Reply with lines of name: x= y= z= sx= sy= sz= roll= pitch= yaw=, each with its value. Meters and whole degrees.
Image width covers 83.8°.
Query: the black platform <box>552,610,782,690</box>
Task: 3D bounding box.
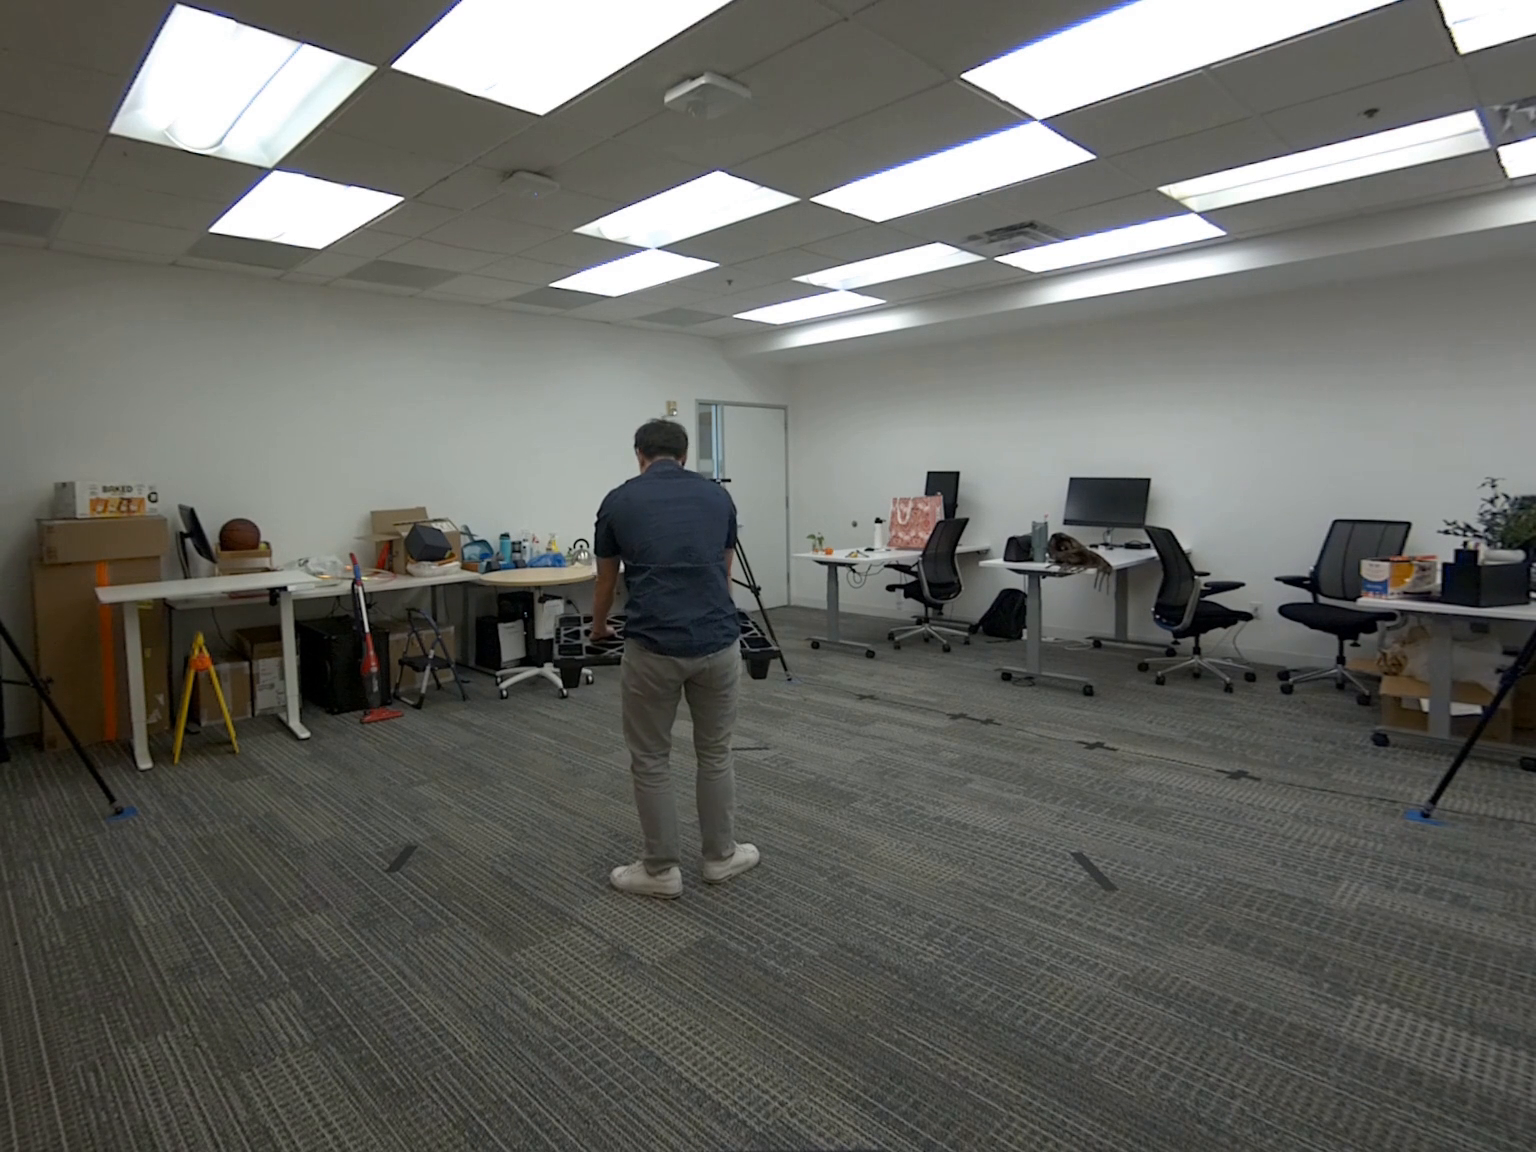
black platform: x=-0.412 y=0.281 z=3.278 sx=0.797 sy=0.142 sz=0.617 roll=-2 pitch=12 yaw=-11
